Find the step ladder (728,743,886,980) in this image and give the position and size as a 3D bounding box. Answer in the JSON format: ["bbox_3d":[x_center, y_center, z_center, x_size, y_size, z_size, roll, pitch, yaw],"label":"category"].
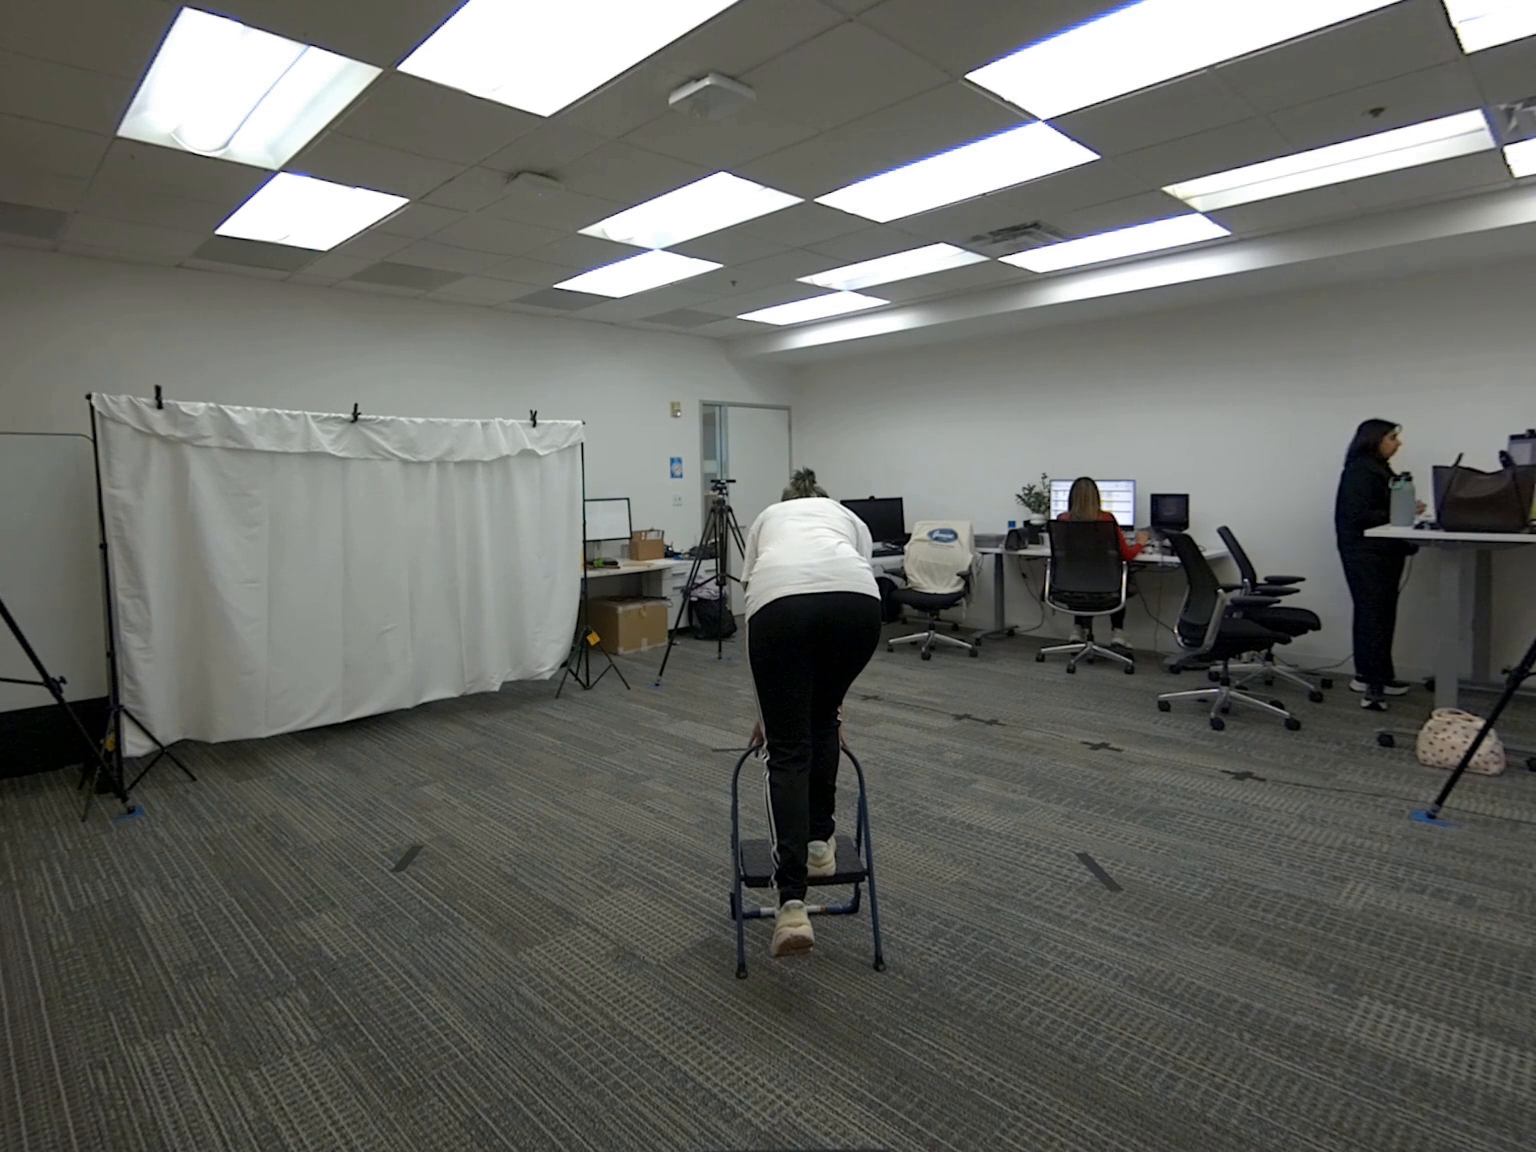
[{"bbox_3d":[0.103,0.810,2.565,0.429,0.604,0.352,-2,4,-5],"label":"step ladder"}]
